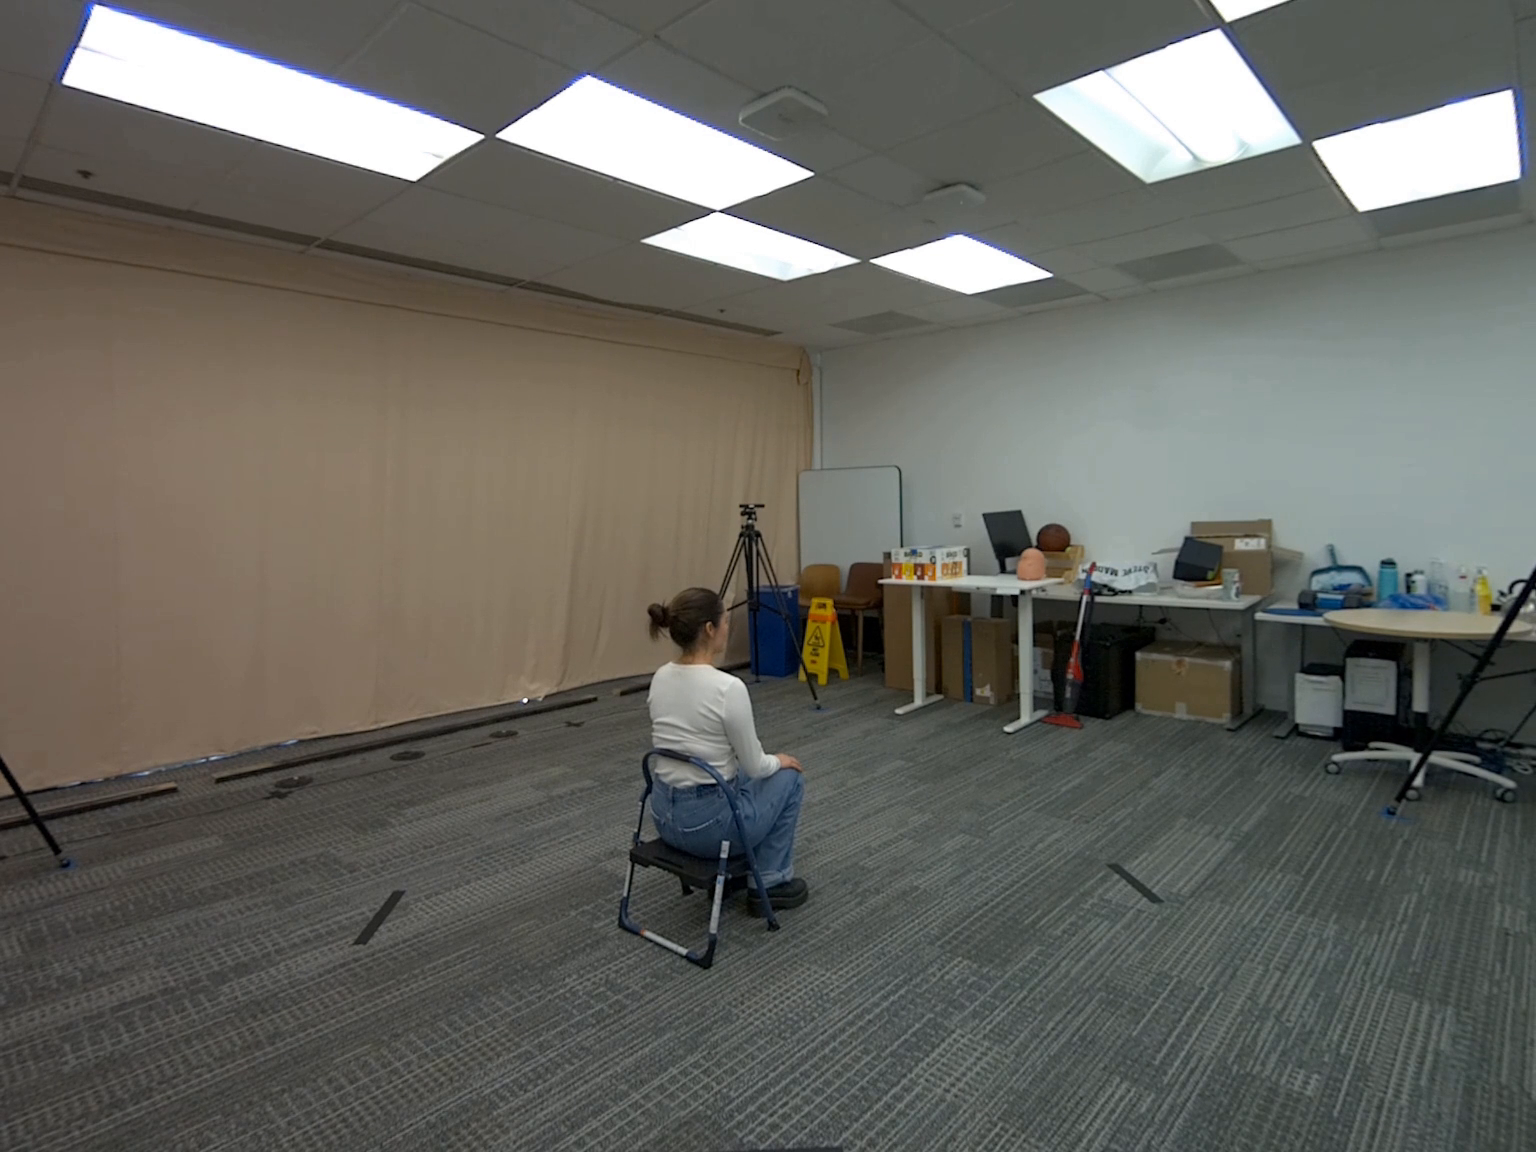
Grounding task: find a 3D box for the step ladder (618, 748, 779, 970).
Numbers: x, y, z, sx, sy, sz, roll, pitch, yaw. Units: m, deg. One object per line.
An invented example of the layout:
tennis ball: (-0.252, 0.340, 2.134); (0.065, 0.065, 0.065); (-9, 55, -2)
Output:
step ladder: (-0.241, 0.859, 2.766); (0.445, 0.605, 0.339); (1, 4, 40)
